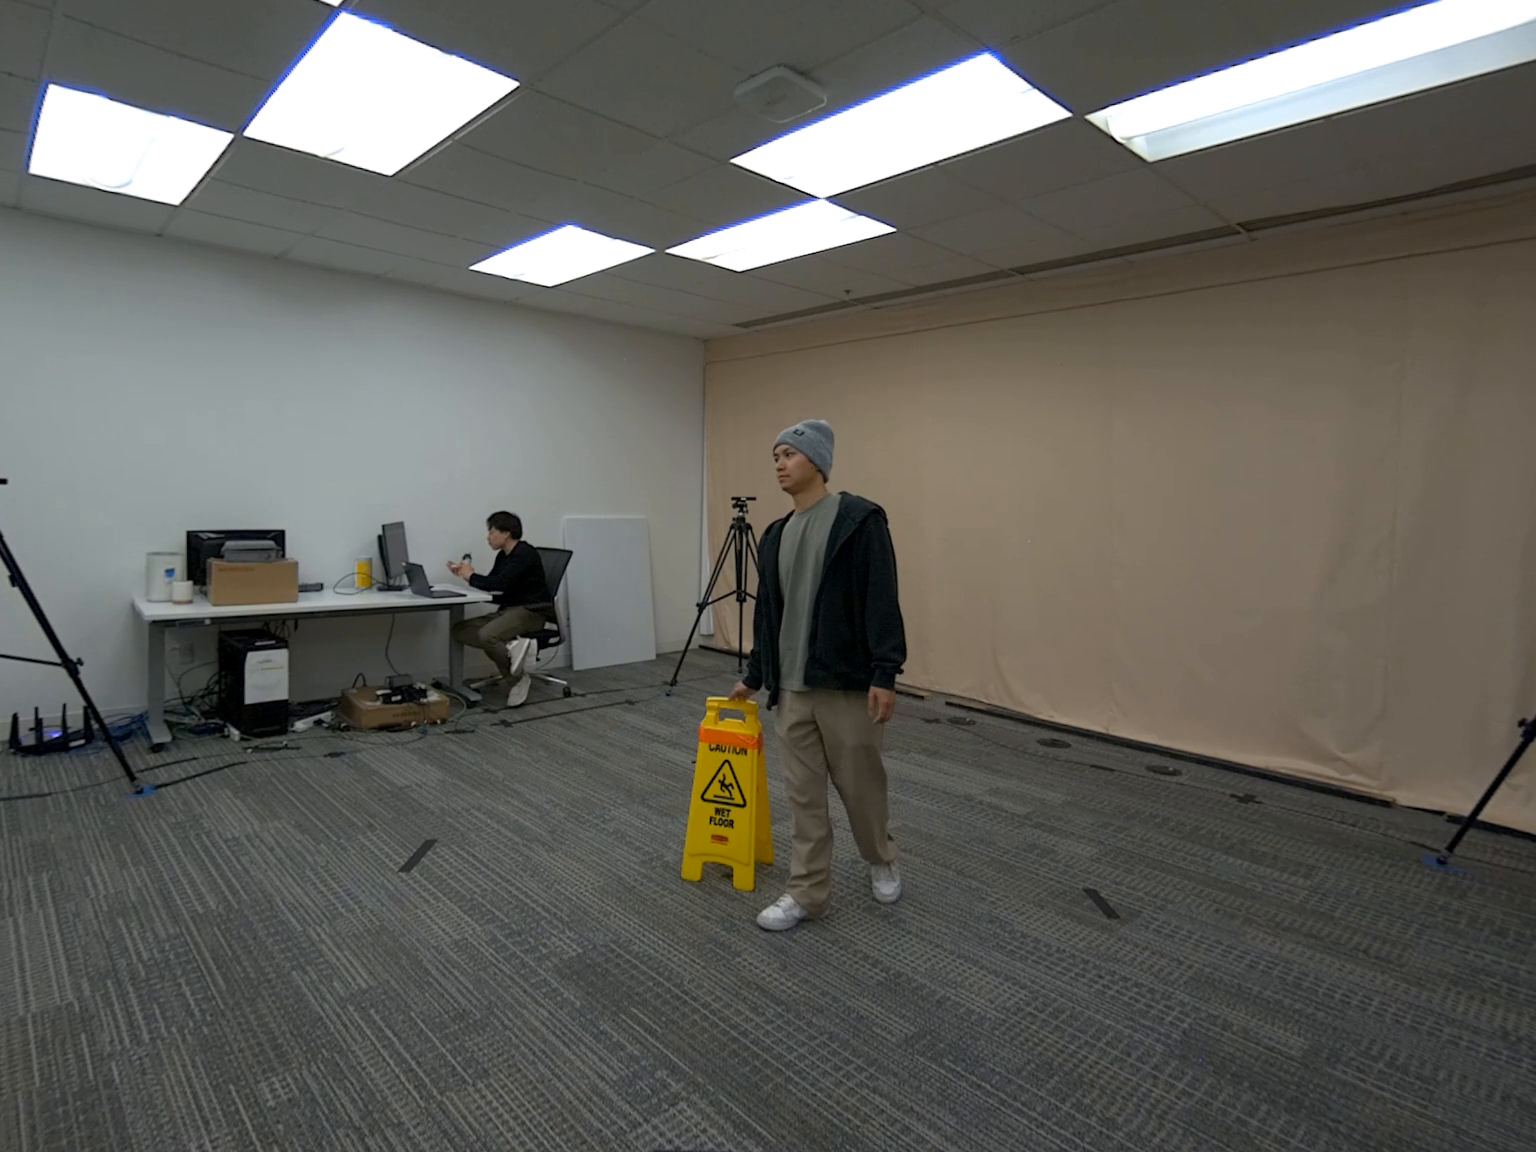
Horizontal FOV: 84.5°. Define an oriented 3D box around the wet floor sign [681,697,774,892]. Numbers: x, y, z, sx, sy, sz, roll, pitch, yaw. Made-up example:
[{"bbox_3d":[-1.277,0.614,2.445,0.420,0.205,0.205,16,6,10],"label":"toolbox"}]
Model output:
[{"bbox_3d":[-0.146,0.780,3.138,0.287,0.645,0.286,4,3,18],"label":"wet floor sign"}]
